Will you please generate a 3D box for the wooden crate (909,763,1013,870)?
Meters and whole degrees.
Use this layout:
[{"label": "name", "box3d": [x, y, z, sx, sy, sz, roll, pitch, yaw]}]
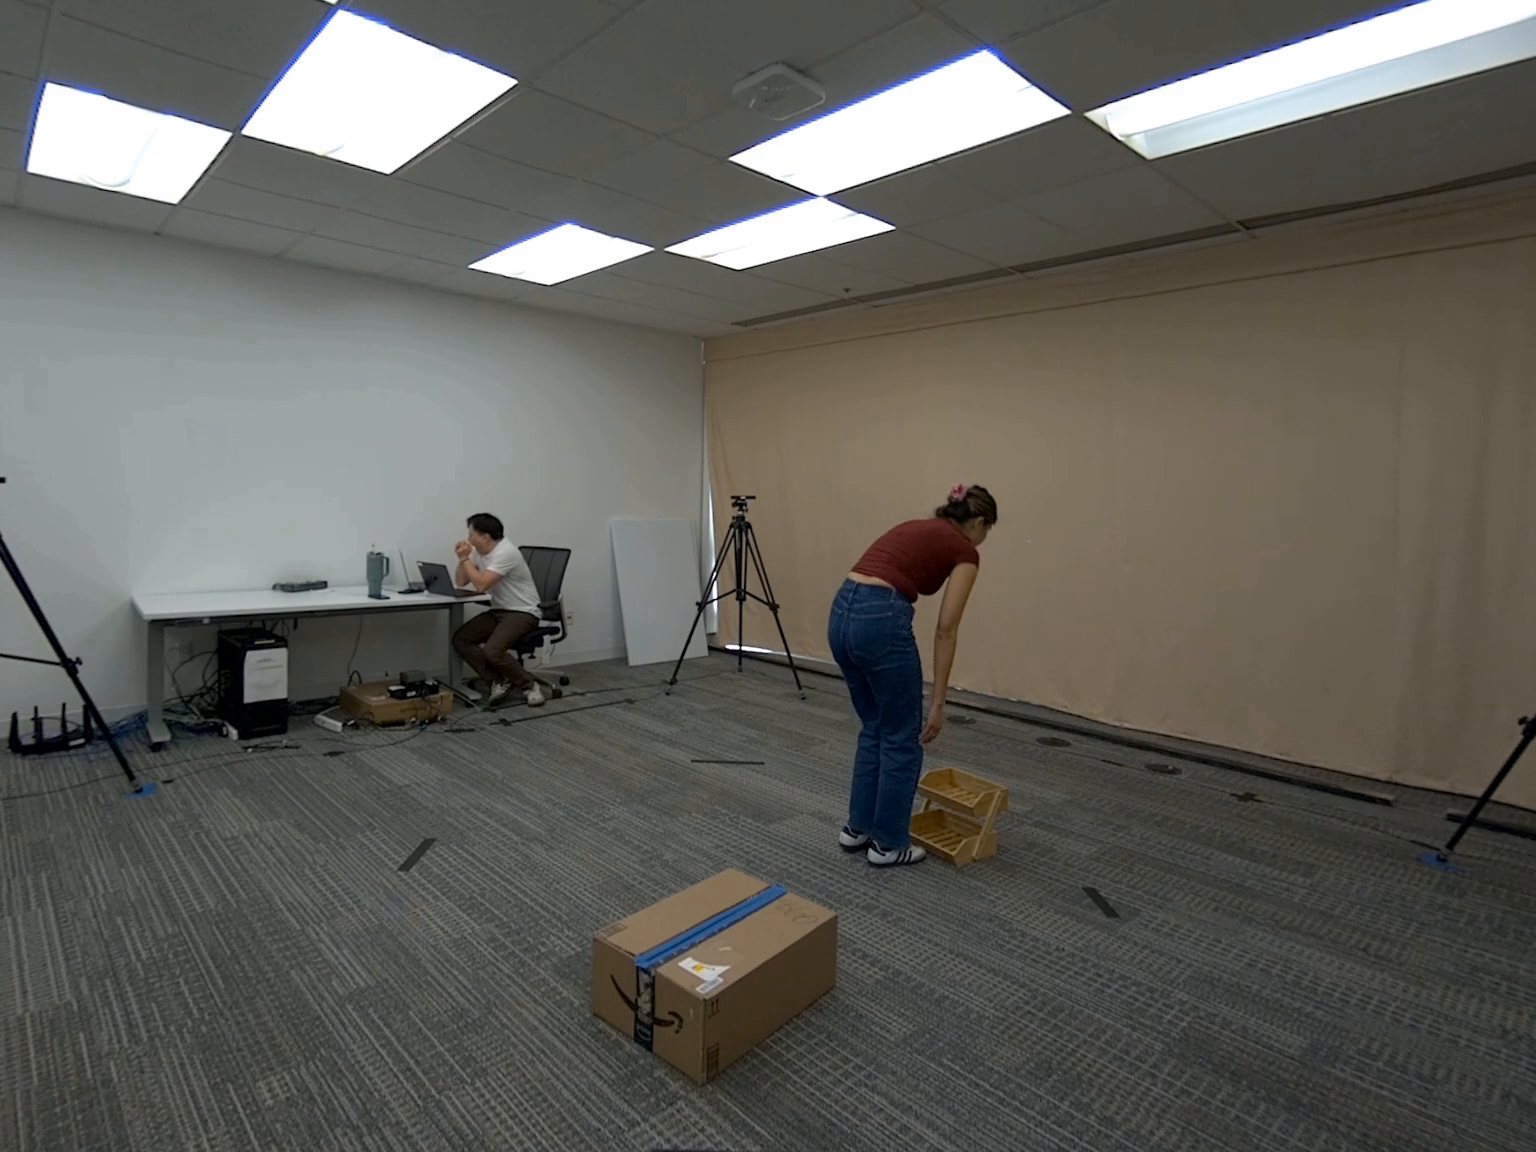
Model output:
[{"label": "wooden crate", "box3d": [0.748, 0.955, 3.418, 0.295, 0.273, 0.332, 0, 5, -35]}]
